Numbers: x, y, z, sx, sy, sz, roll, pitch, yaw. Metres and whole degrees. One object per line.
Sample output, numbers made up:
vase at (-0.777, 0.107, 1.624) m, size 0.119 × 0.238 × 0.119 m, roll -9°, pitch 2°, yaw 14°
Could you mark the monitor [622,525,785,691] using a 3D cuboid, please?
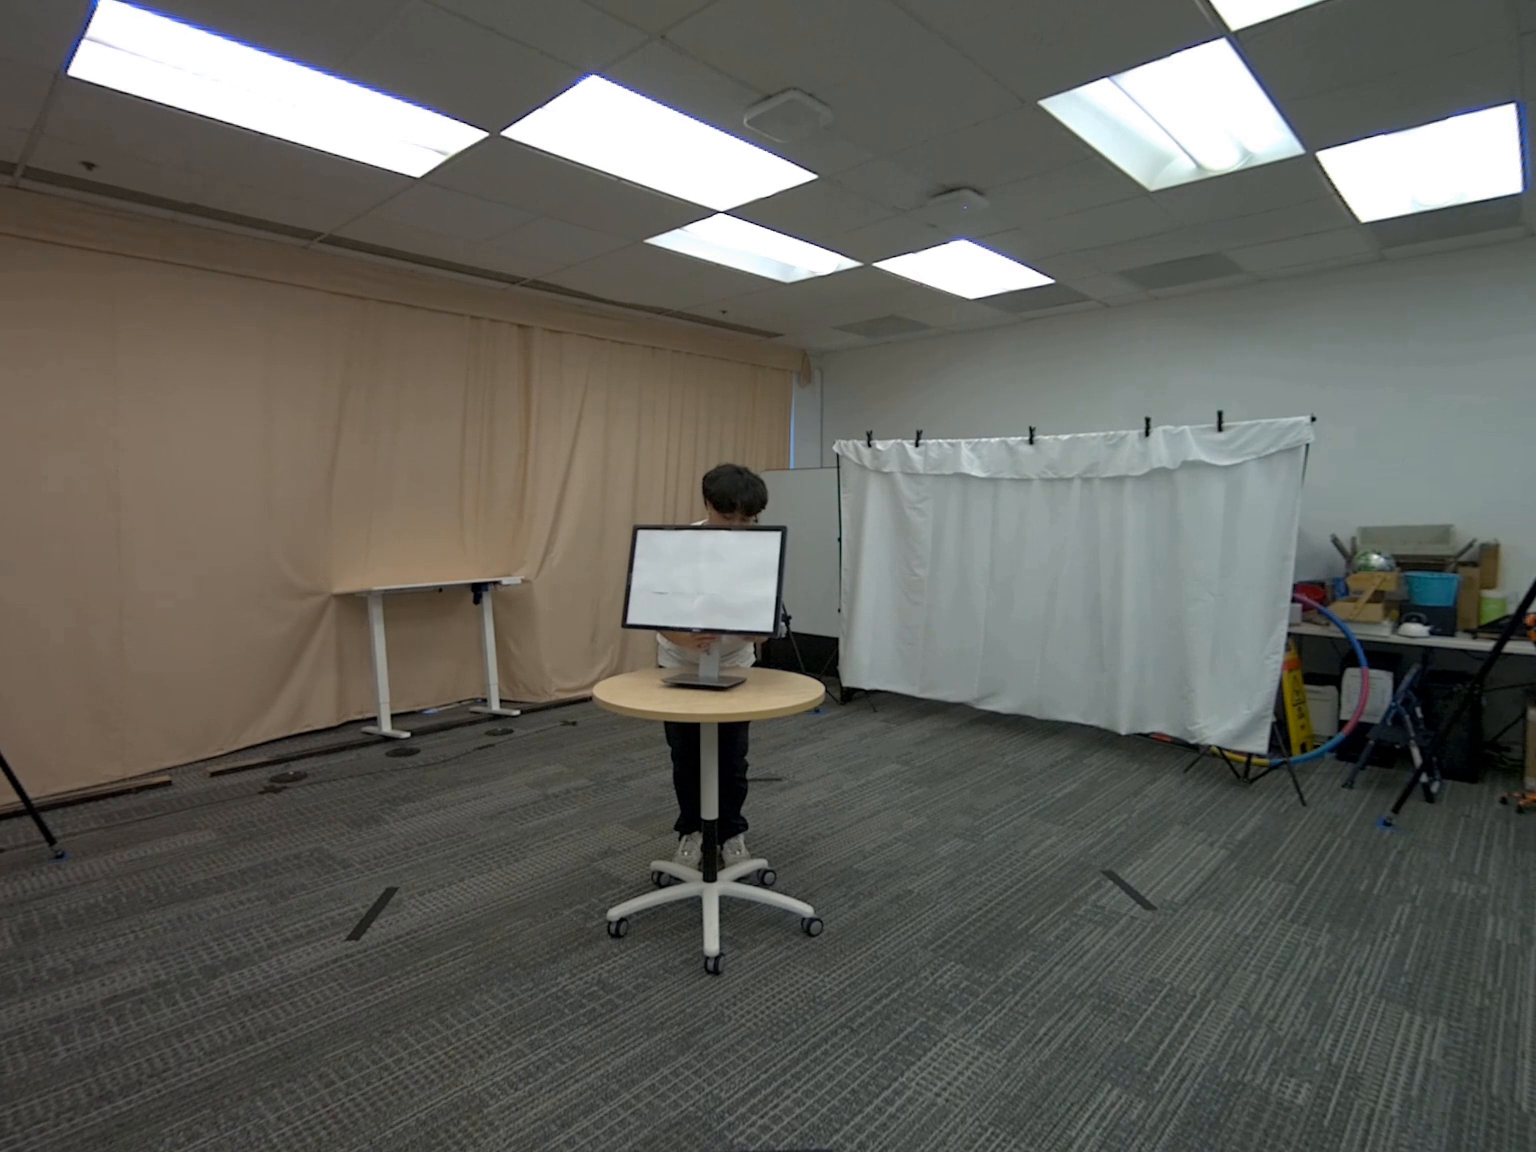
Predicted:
monitor at (-0.195, 0.103, 2.861) m, size 0.578 × 0.556 × 0.205 m, roll 1°, pitch -6°, yaw 21°
